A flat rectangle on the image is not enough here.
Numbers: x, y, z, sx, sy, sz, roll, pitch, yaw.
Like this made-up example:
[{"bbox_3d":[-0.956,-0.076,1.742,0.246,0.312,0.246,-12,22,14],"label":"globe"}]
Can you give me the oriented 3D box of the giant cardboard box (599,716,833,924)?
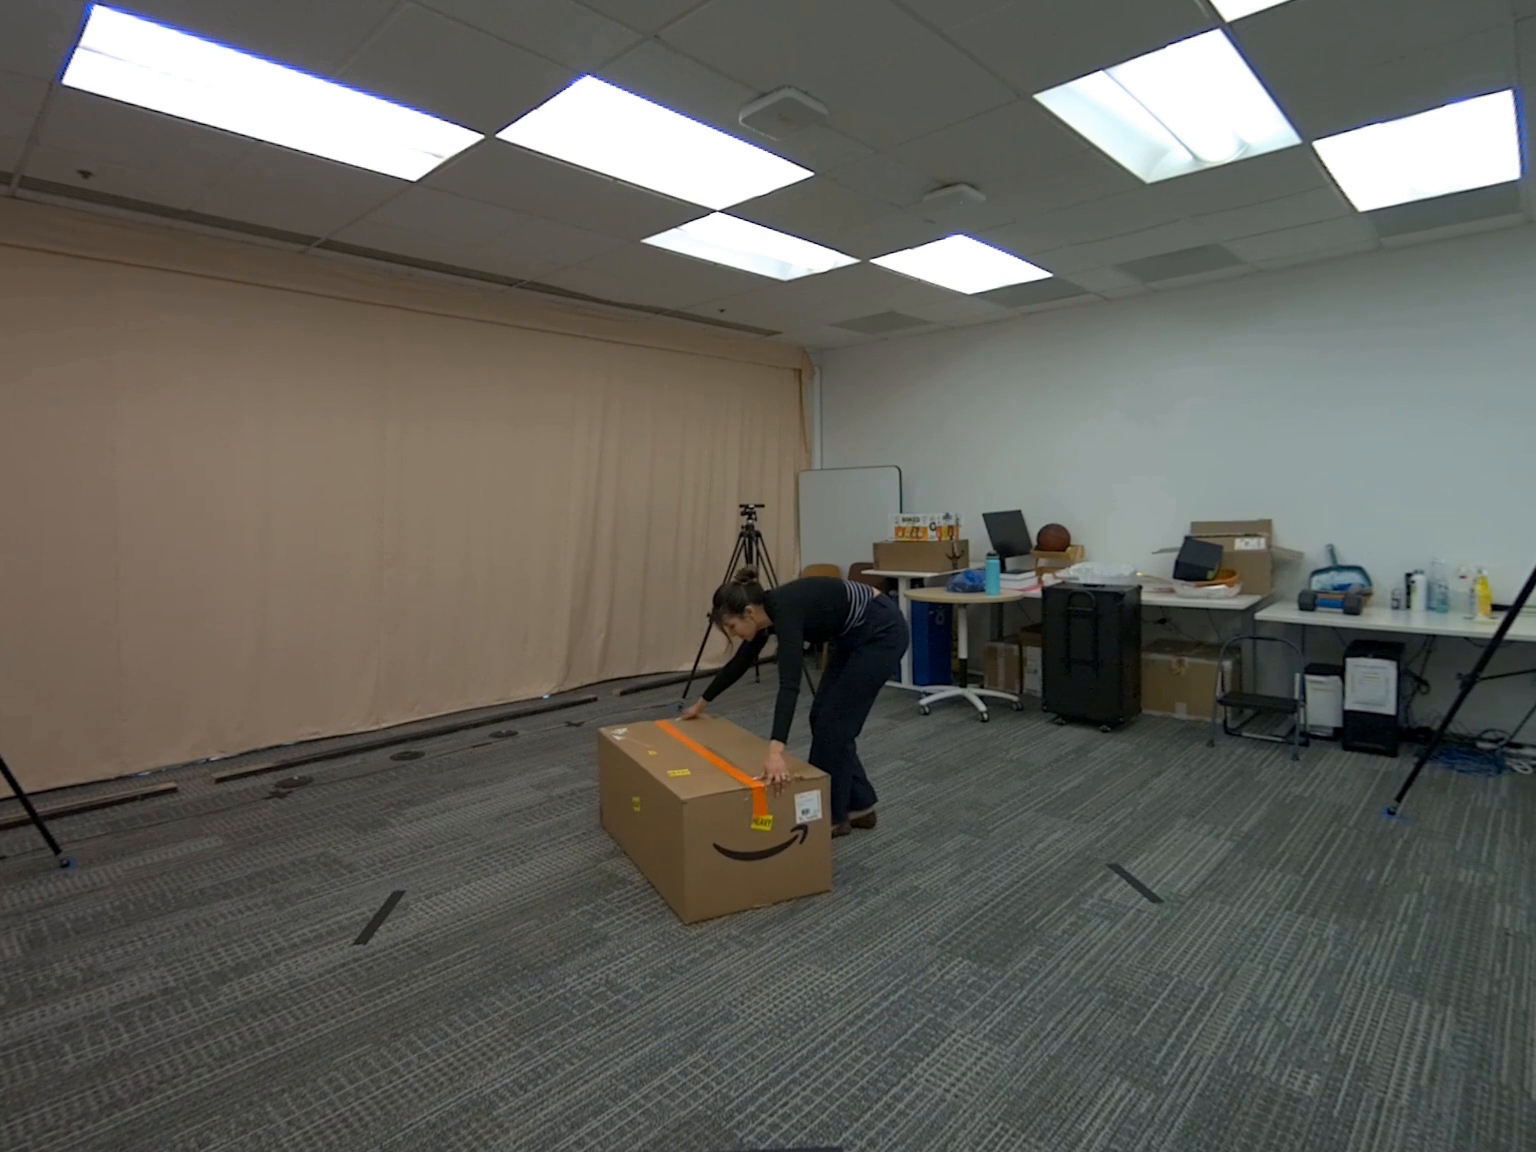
[{"bbox_3d":[-0.258,0.895,3.362,0.564,0.425,1.053,-3,5,-26],"label":"giant cardboard box"}]
